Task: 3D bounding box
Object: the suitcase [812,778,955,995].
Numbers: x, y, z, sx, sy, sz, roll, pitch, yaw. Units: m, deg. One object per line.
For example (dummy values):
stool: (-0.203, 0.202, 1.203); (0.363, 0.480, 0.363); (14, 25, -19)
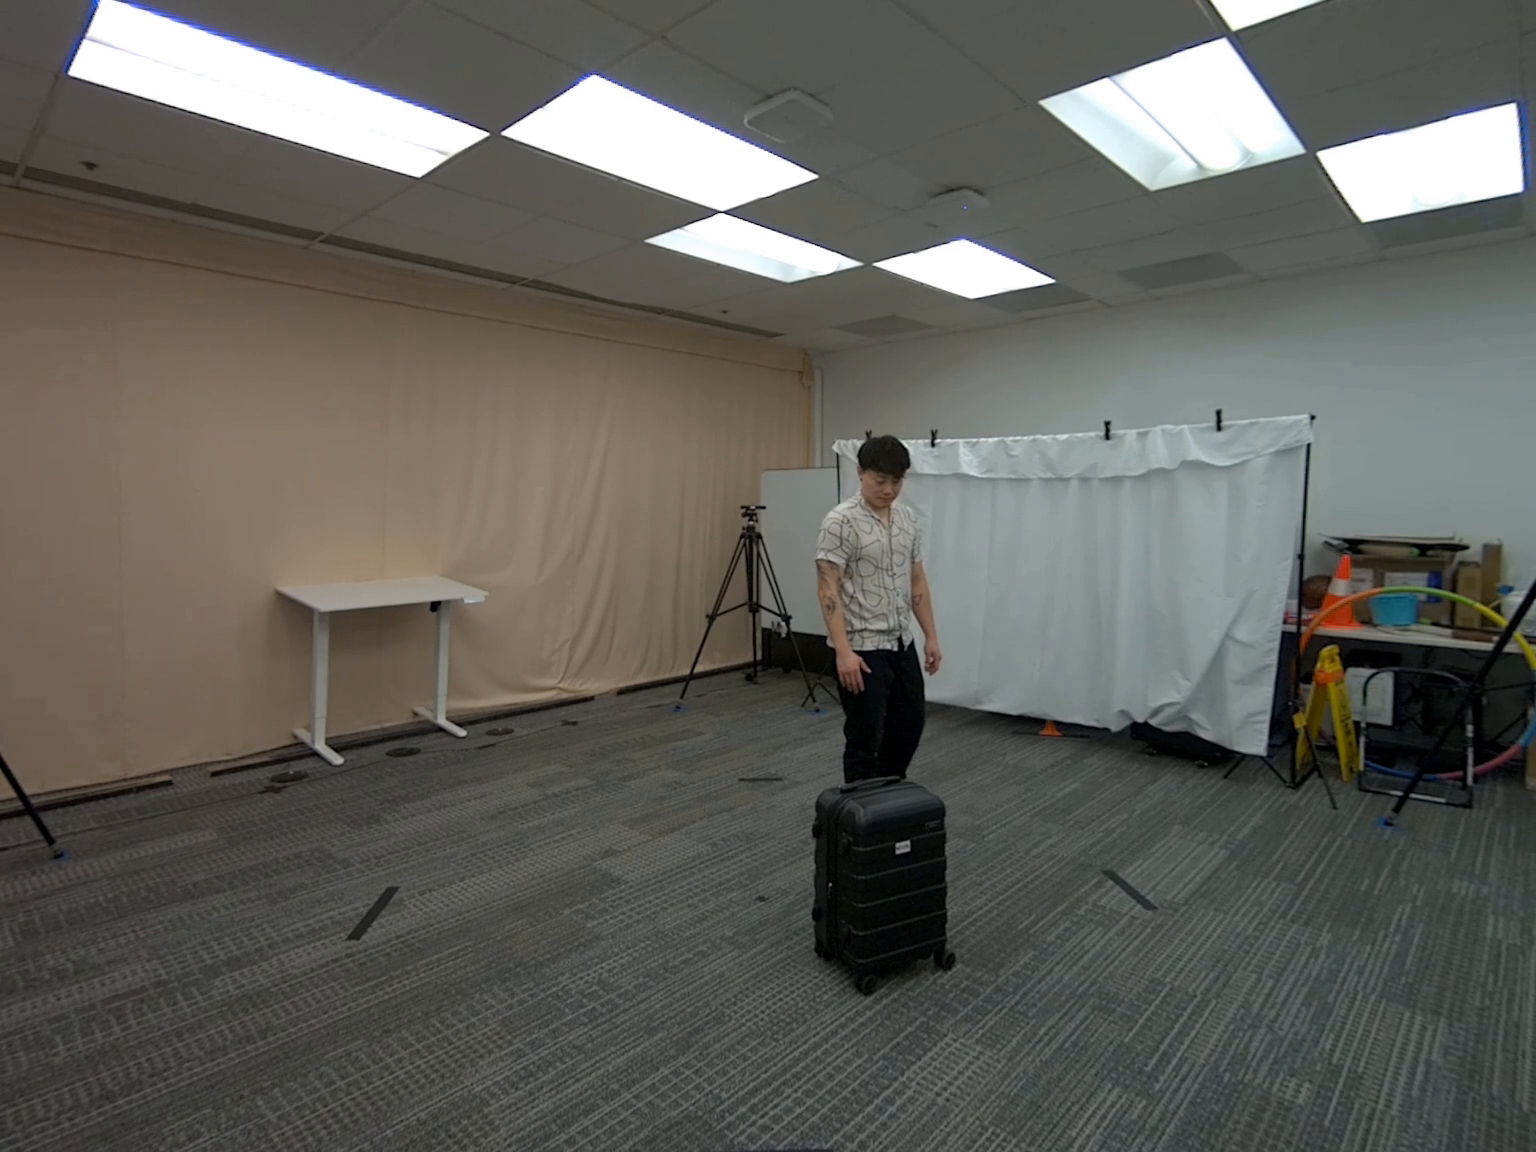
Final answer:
suitcase: (0.345, 0.905, 2.538); (0.366, 0.548, 0.255); (-2, 4, -26)
